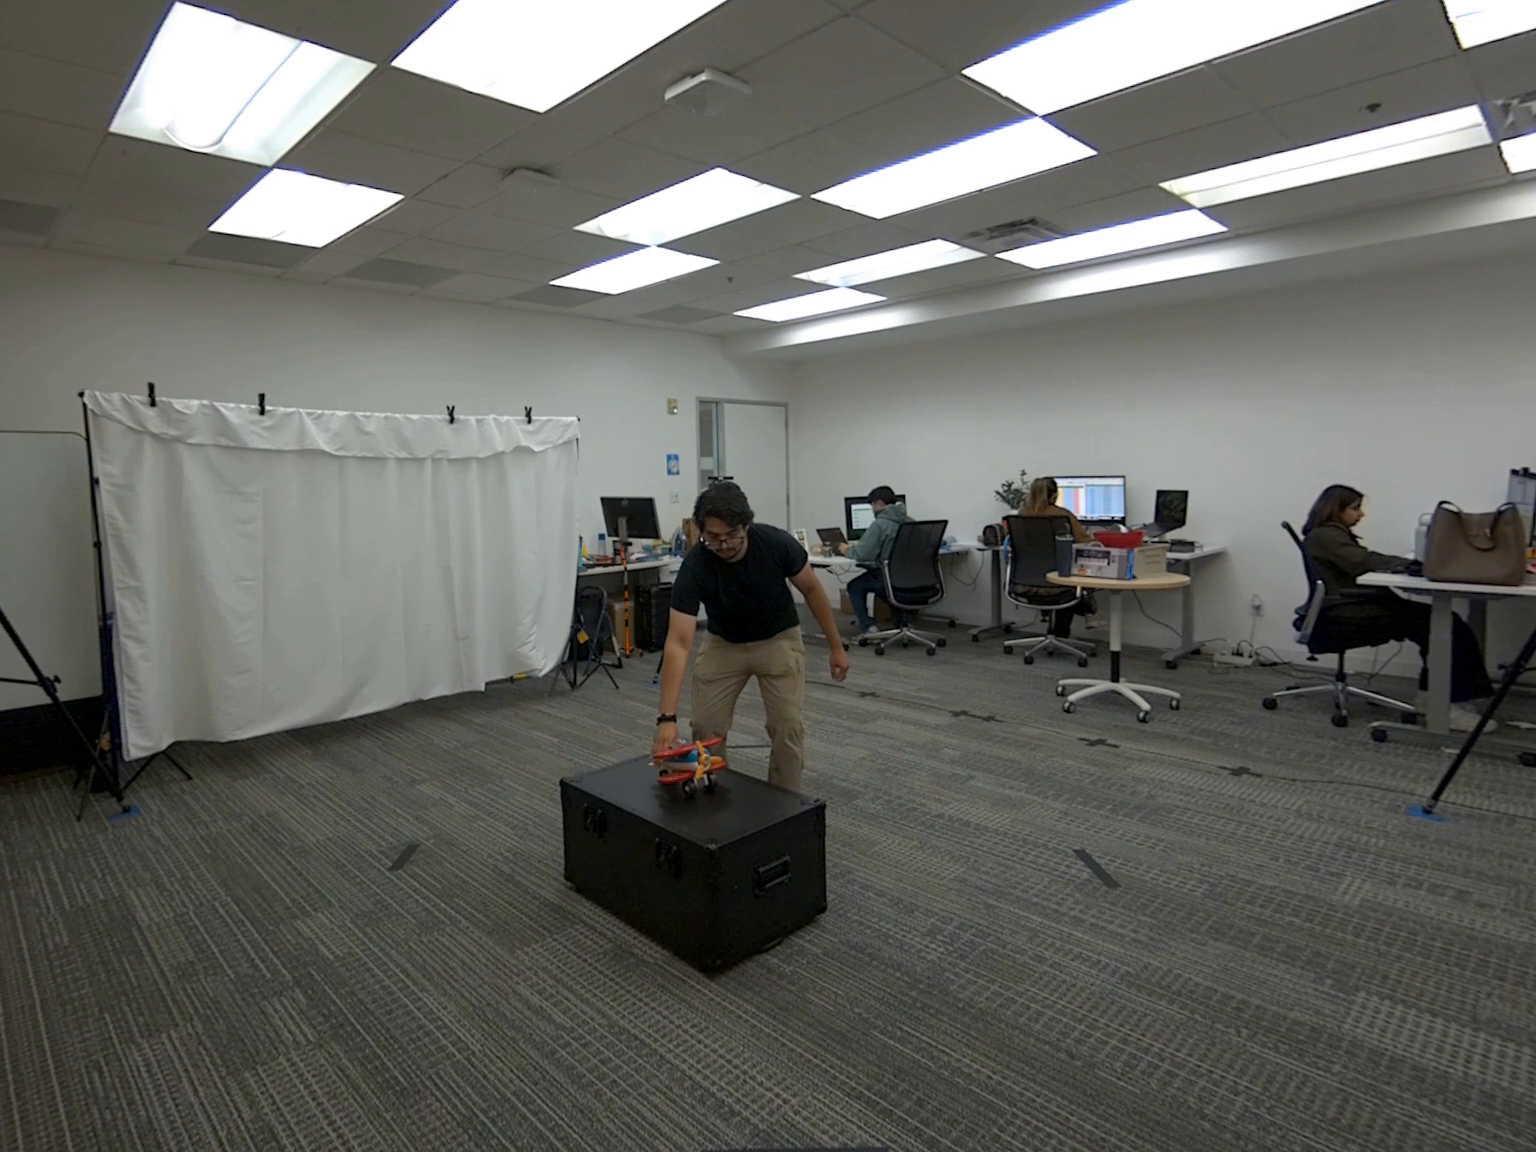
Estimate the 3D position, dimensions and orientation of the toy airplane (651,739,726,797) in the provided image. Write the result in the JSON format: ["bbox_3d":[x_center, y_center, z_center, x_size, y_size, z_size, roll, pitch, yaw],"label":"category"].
[{"bbox_3d":[-0.284,0.626,2.825,0.264,0.156,0.247,2,6,20],"label":"toy airplane"}]
